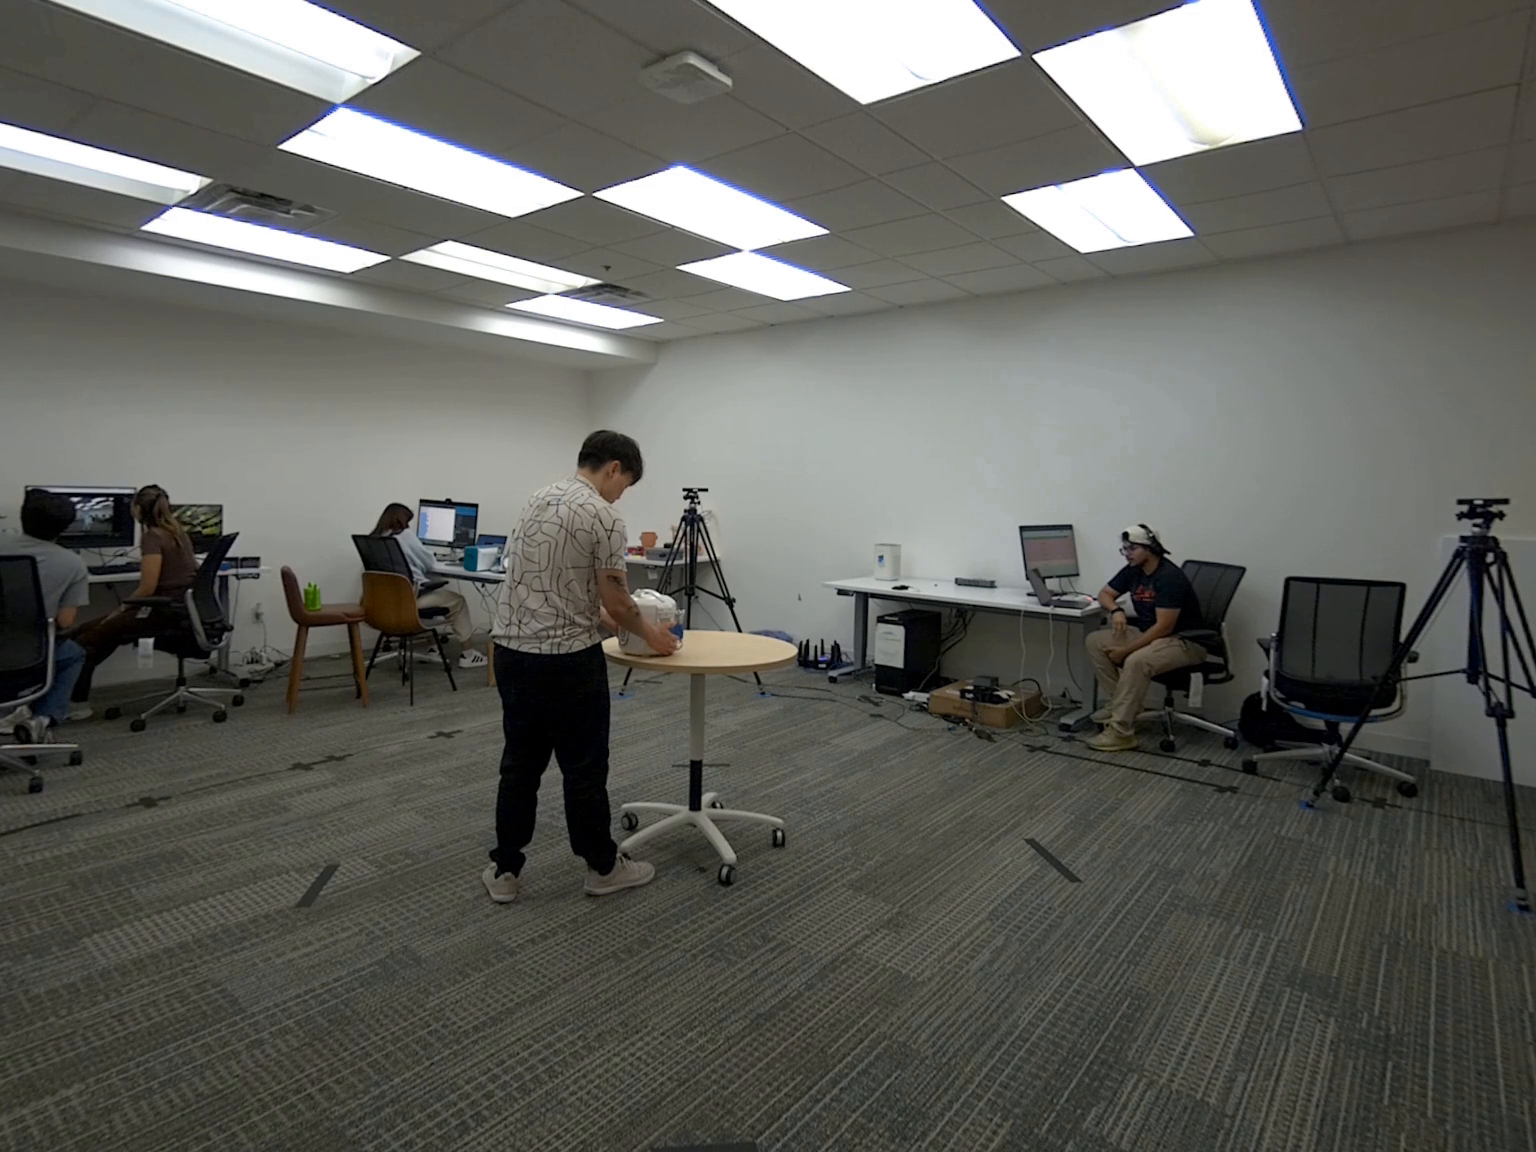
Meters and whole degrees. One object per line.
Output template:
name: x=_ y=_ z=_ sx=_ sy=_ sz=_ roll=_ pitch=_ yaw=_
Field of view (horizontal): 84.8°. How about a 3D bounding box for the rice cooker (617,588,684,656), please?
rice cooker: x=-0.443 y=0.167 z=3.131 sx=0.210 sy=0.232 sz=0.228 roll=-1 pitch=4 yaw=-44
